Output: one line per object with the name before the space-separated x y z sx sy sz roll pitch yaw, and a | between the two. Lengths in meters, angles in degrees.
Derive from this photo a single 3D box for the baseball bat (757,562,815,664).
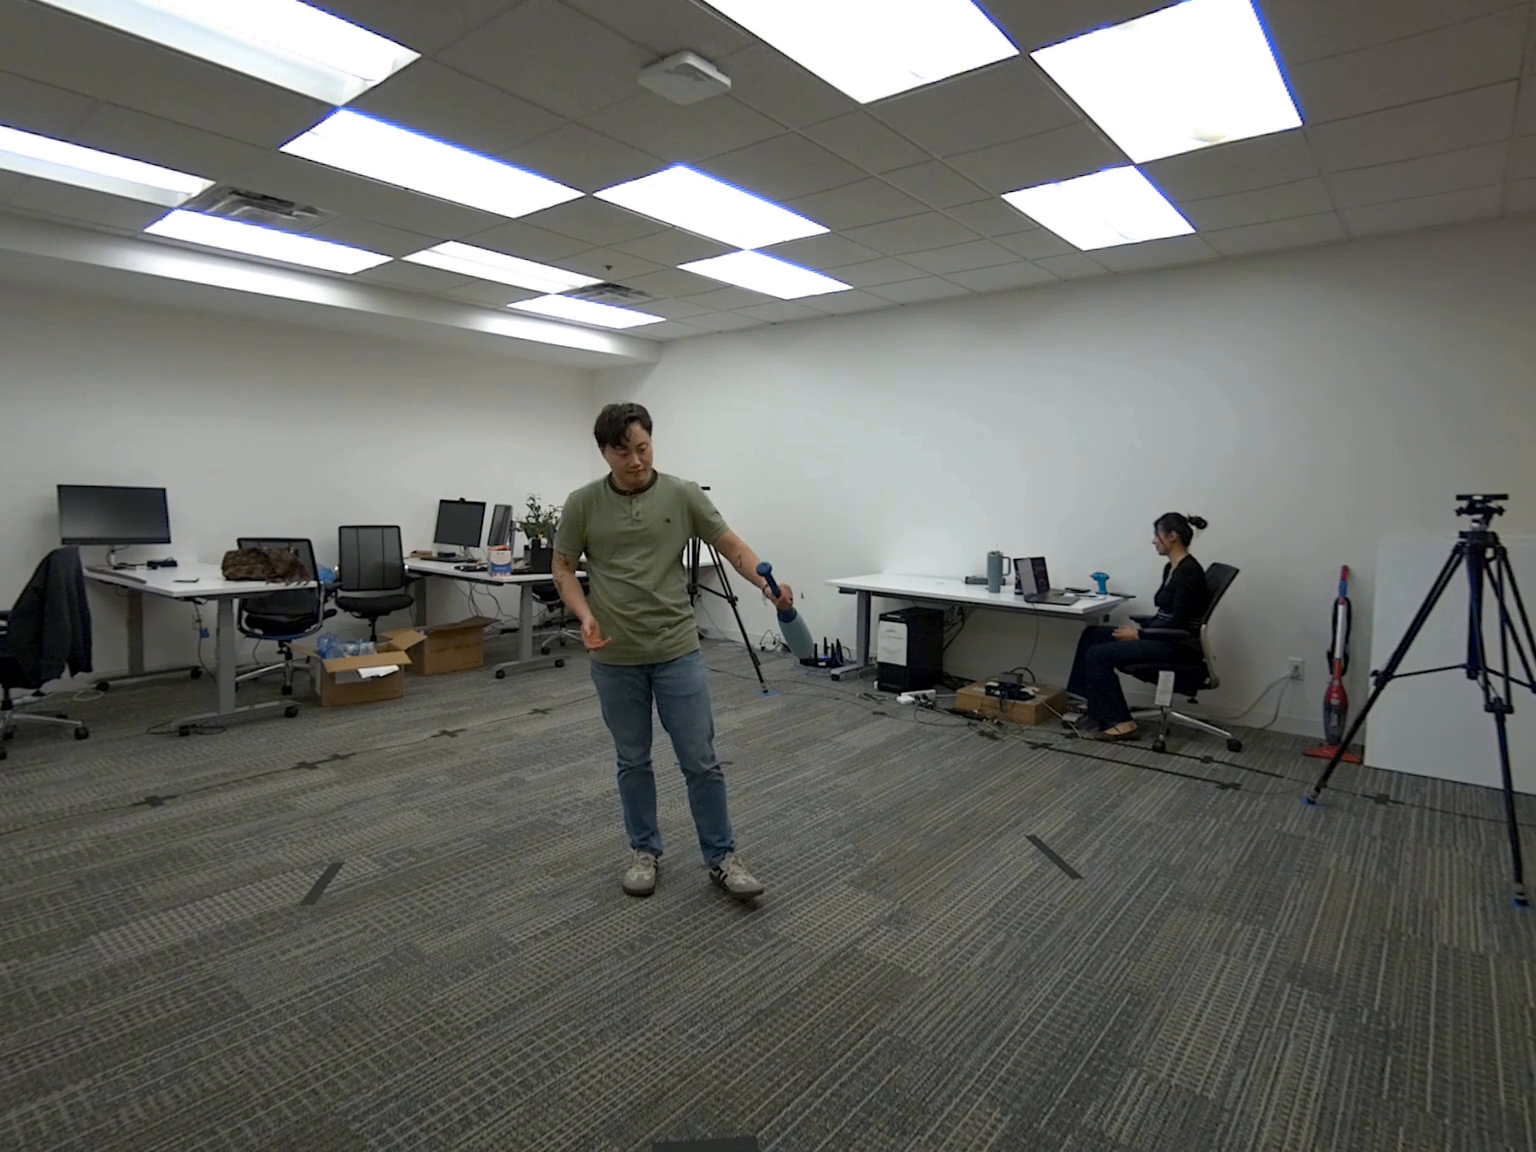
baseball bat | 0.040 0.115 2.818 0.091 0.090 0.522 3 -32 21
